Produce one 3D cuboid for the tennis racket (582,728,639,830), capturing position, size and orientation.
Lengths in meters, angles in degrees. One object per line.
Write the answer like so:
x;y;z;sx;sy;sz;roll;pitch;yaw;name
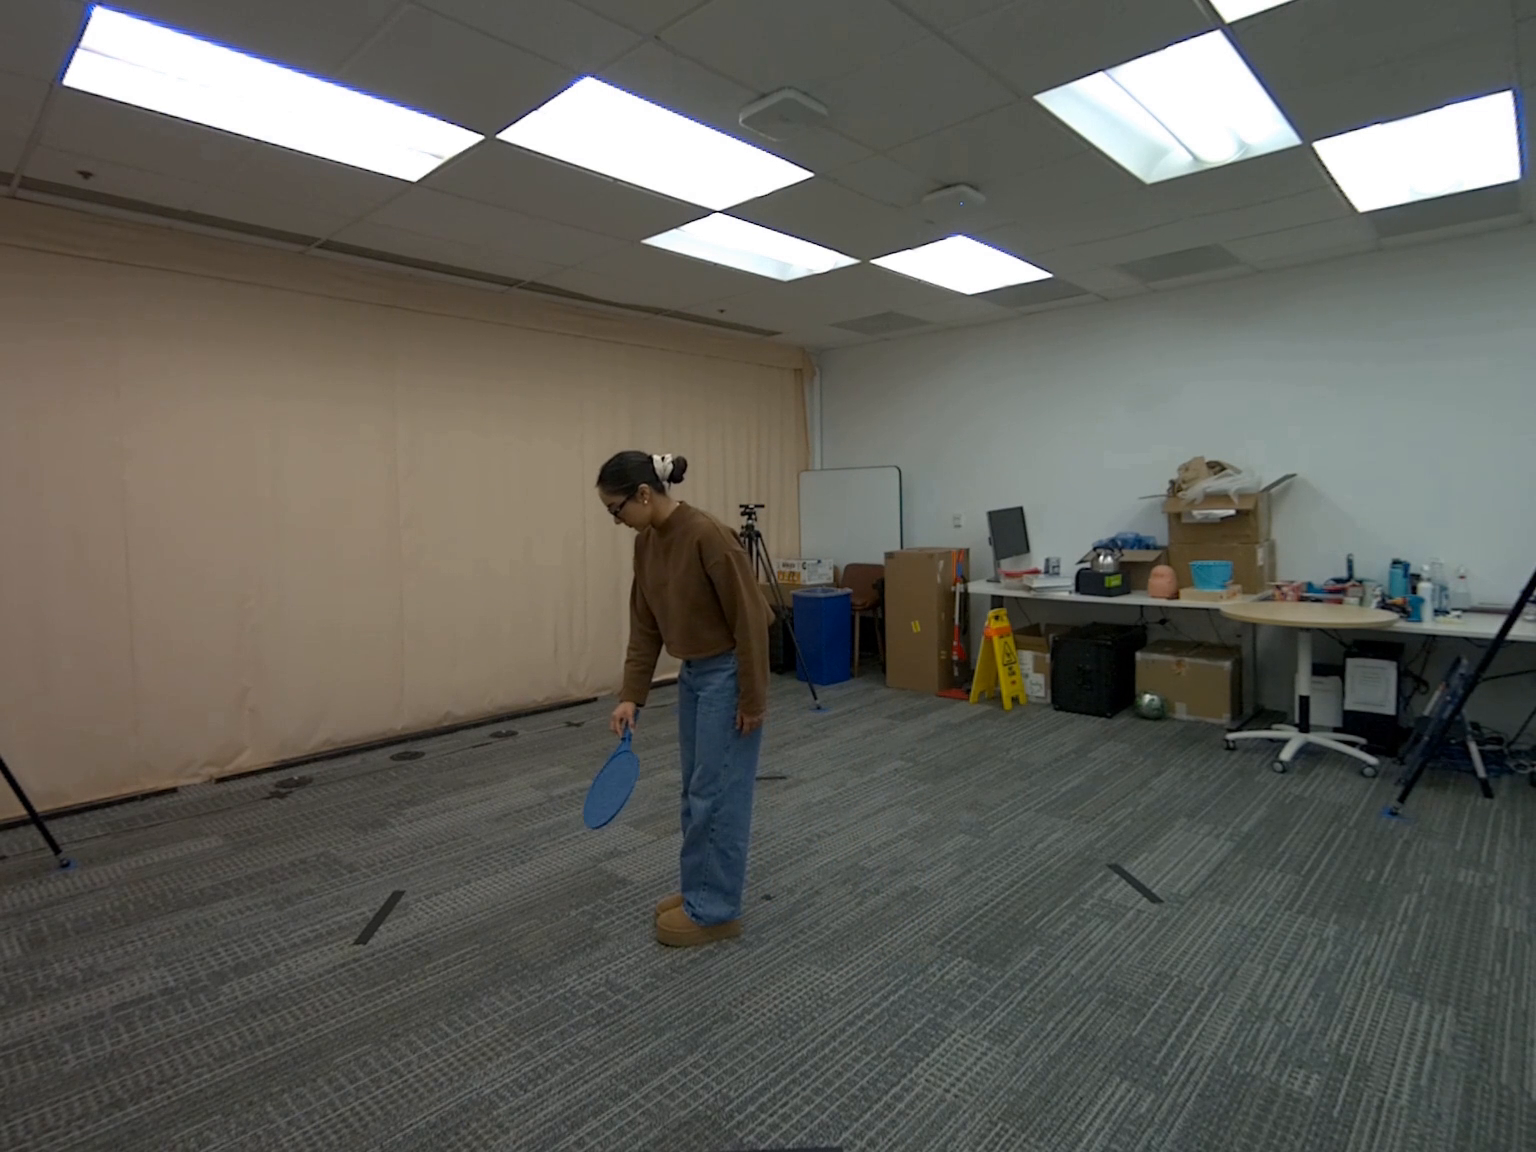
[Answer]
-0.437;0.572;2.572;0.217;0.031;0.437;-28;31;30;tennis racket
